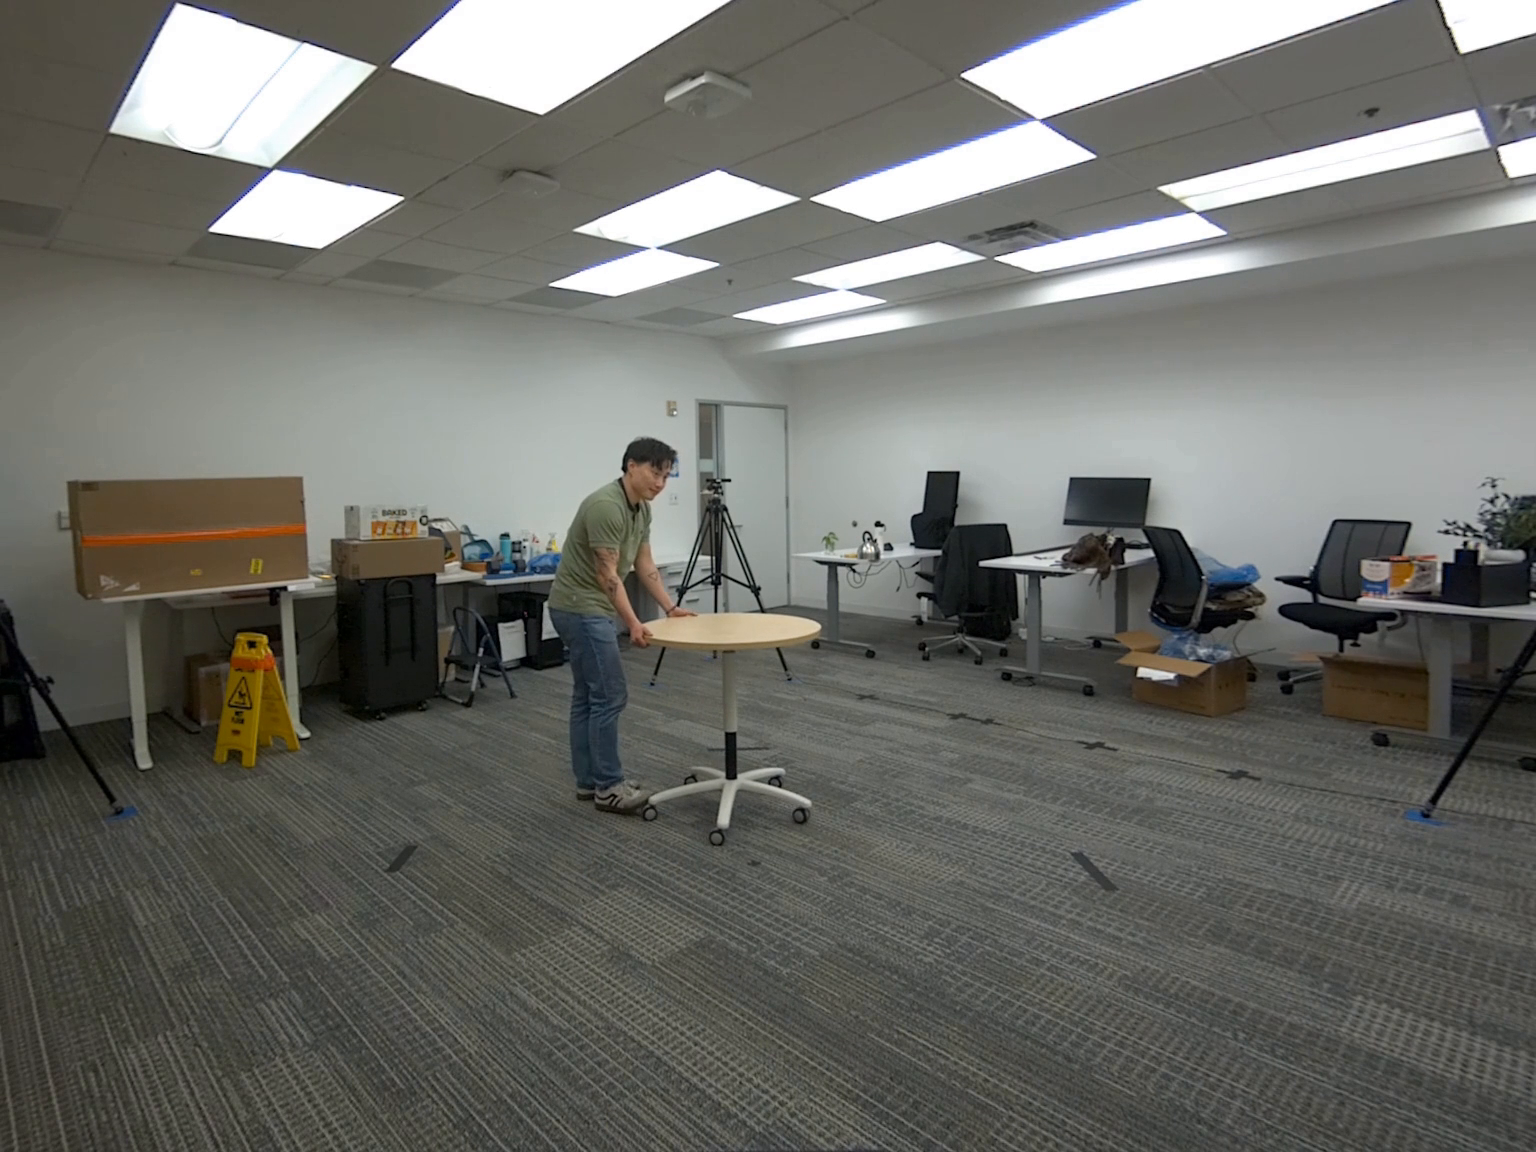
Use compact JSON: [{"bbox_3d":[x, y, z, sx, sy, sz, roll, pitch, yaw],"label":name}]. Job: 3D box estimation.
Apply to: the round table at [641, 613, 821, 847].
[{"bbox_3d":[-0.159,0.605,3.570,0.763,0.791,0.768,-1,5,-2],"label":"round table"}]
